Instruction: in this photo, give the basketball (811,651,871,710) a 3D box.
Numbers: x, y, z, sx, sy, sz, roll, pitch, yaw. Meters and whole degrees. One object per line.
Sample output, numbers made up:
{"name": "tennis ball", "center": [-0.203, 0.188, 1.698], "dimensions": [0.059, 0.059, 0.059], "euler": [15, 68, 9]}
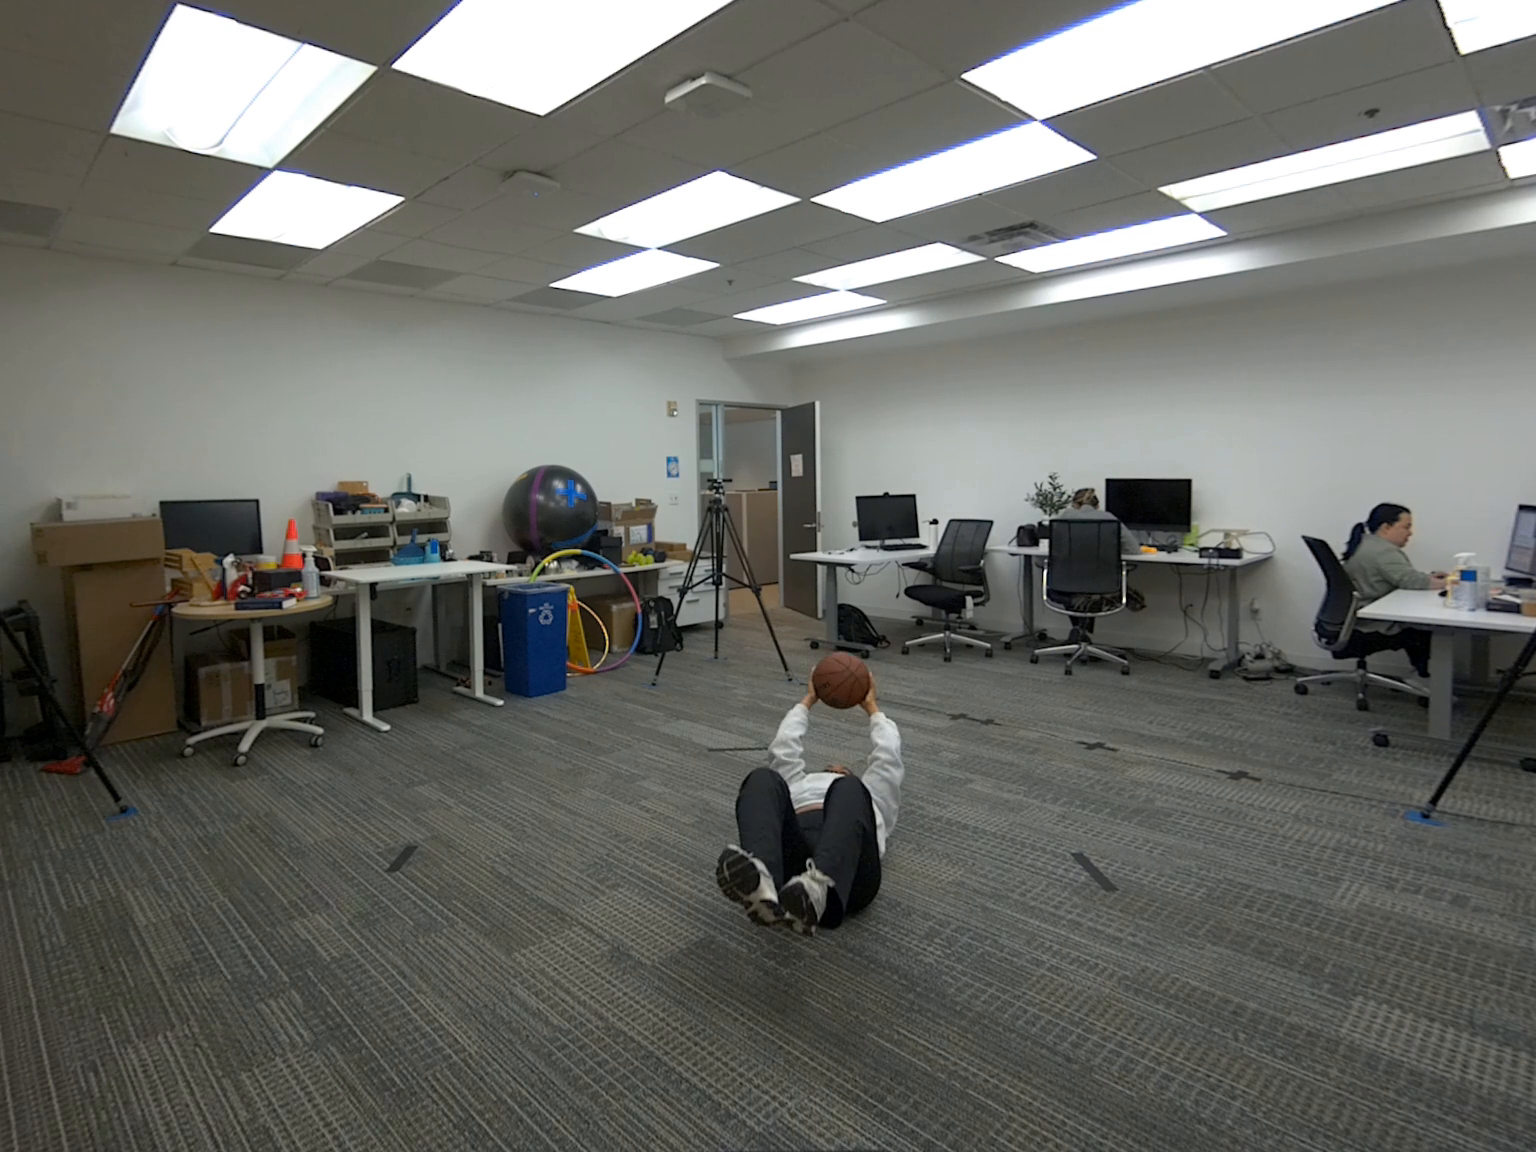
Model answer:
{"name": "basketball", "center": [0.310, 0.452, 3.573], "dimensions": [0.236, 0.235, 0.237], "euler": [-1, 4, -2]}
